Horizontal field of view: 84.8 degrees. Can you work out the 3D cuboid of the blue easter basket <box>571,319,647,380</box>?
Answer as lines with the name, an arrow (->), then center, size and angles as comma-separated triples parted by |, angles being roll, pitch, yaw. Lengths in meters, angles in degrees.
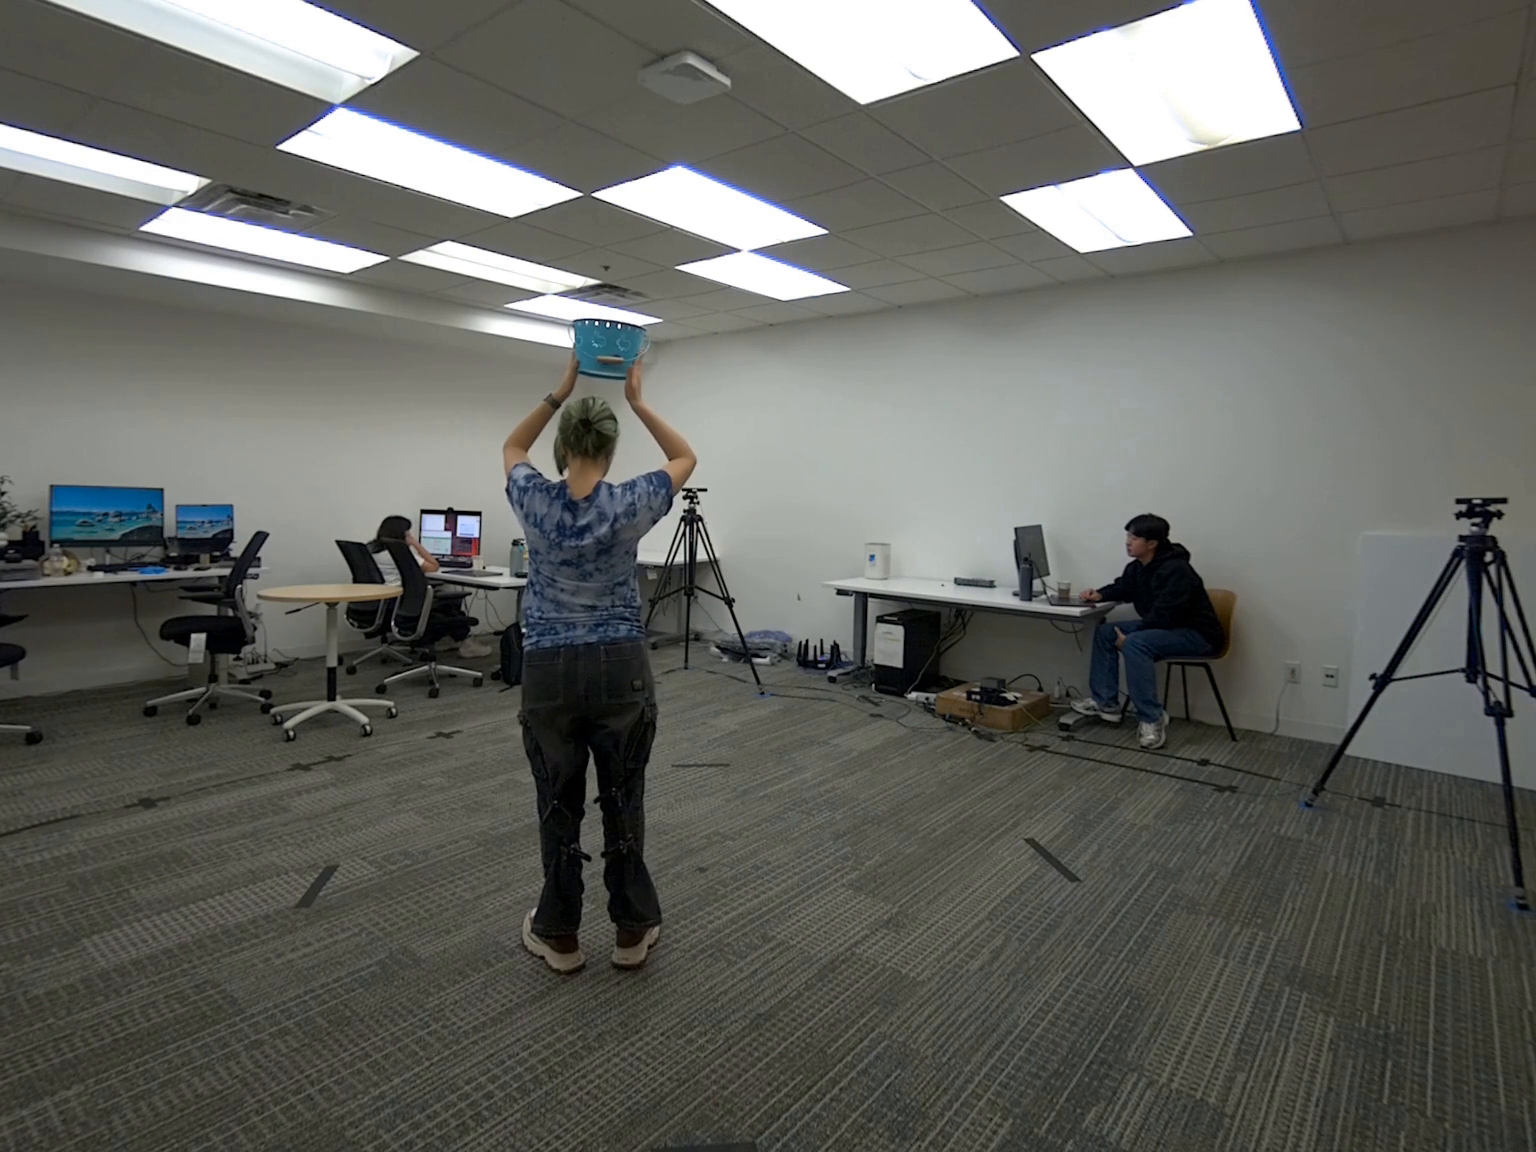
blue easter basket -> -0.506, -0.695, 2.601 | 0.243, 0.155, 0.245 | 5, 6, -2
